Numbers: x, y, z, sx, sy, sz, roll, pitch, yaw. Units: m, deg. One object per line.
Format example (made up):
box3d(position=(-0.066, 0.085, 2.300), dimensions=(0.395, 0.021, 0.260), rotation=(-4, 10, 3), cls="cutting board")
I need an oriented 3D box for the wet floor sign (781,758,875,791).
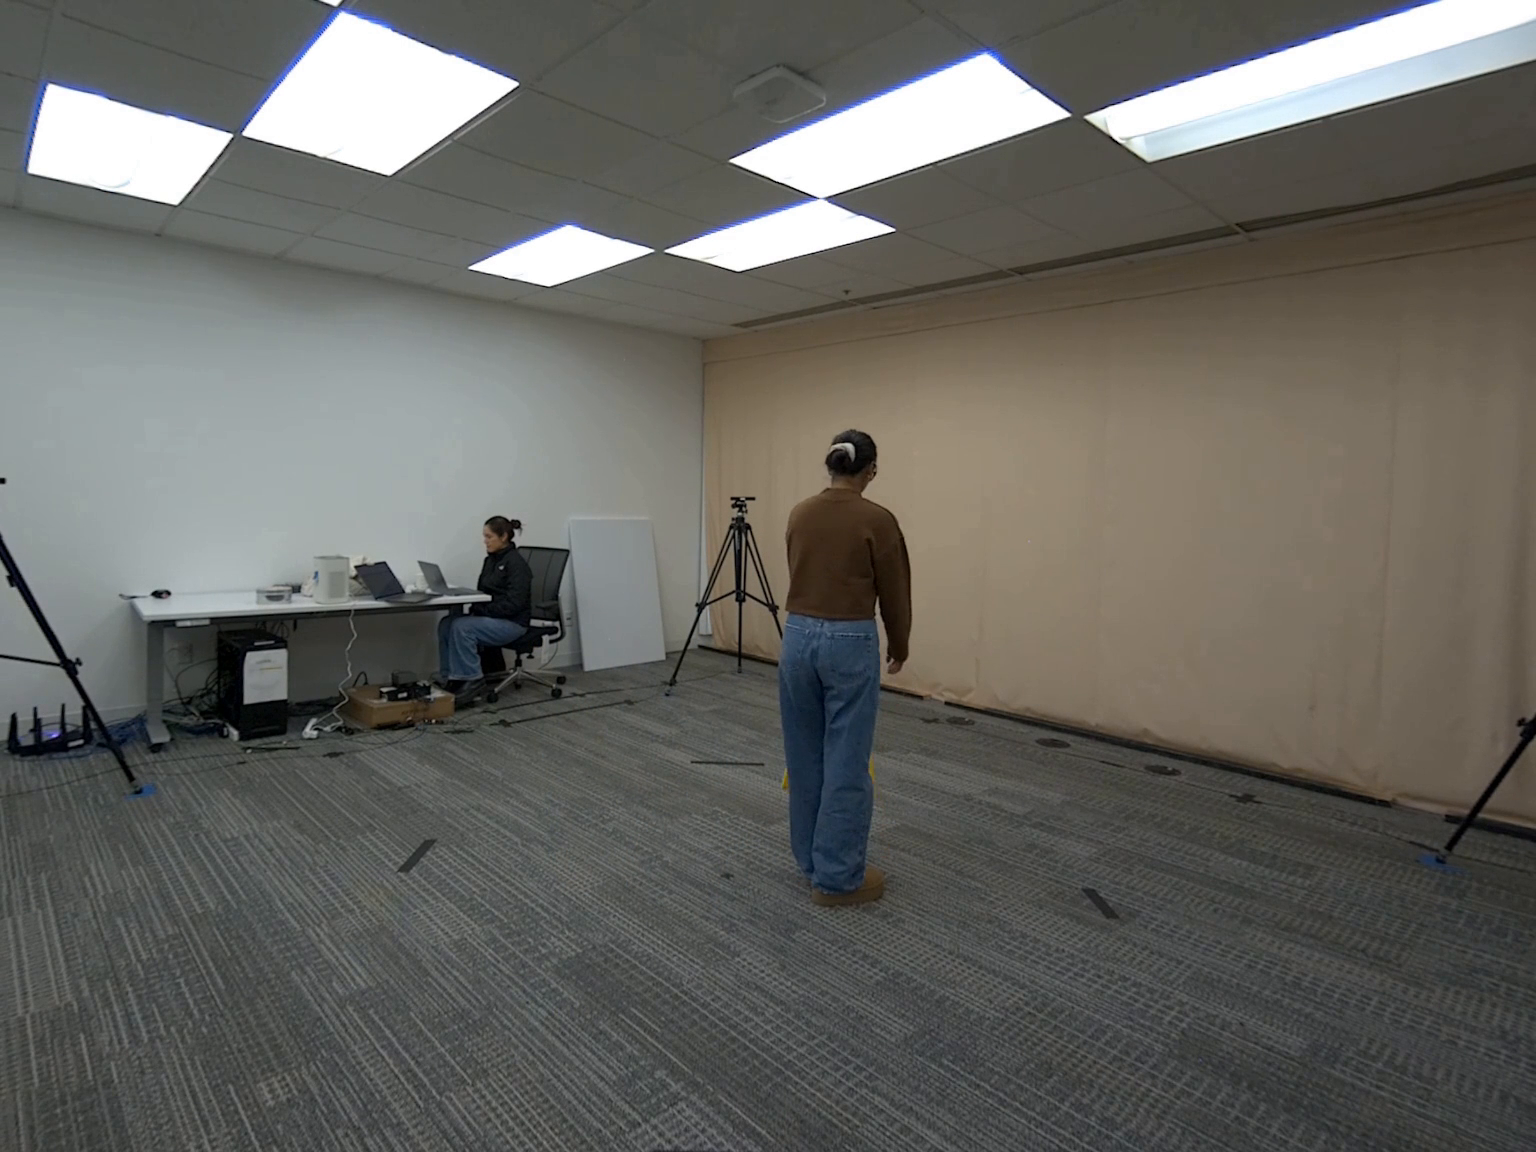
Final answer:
box3d(position=(0.272, 0.579, 3.431), dimensions=(0.275, 0.645, 0.297), rotation=(3, 3, -37), cls="wet floor sign")
